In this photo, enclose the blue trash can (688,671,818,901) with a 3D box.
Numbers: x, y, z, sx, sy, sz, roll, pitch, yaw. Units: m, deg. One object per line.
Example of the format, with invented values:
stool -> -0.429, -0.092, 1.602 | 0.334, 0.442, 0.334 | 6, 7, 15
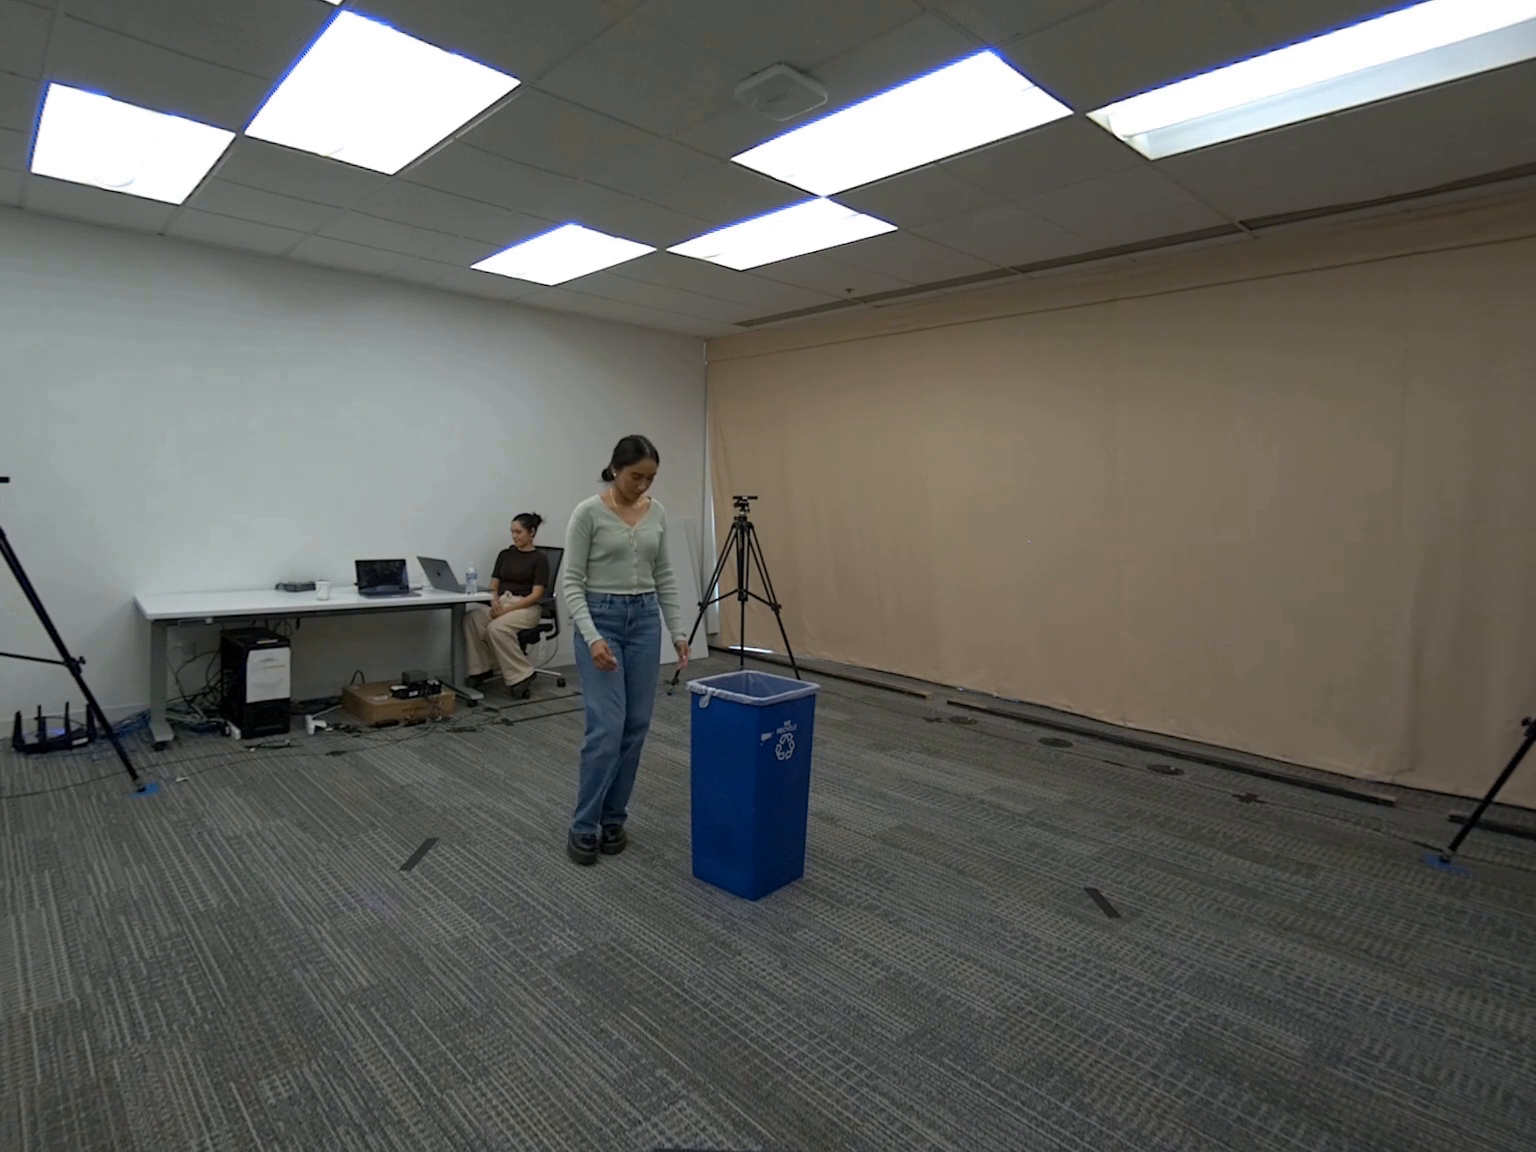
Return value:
blue trash can -> -0.070, 0.746, 3.092 | 0.387, 0.712, 0.366 | 4, 5, 41
